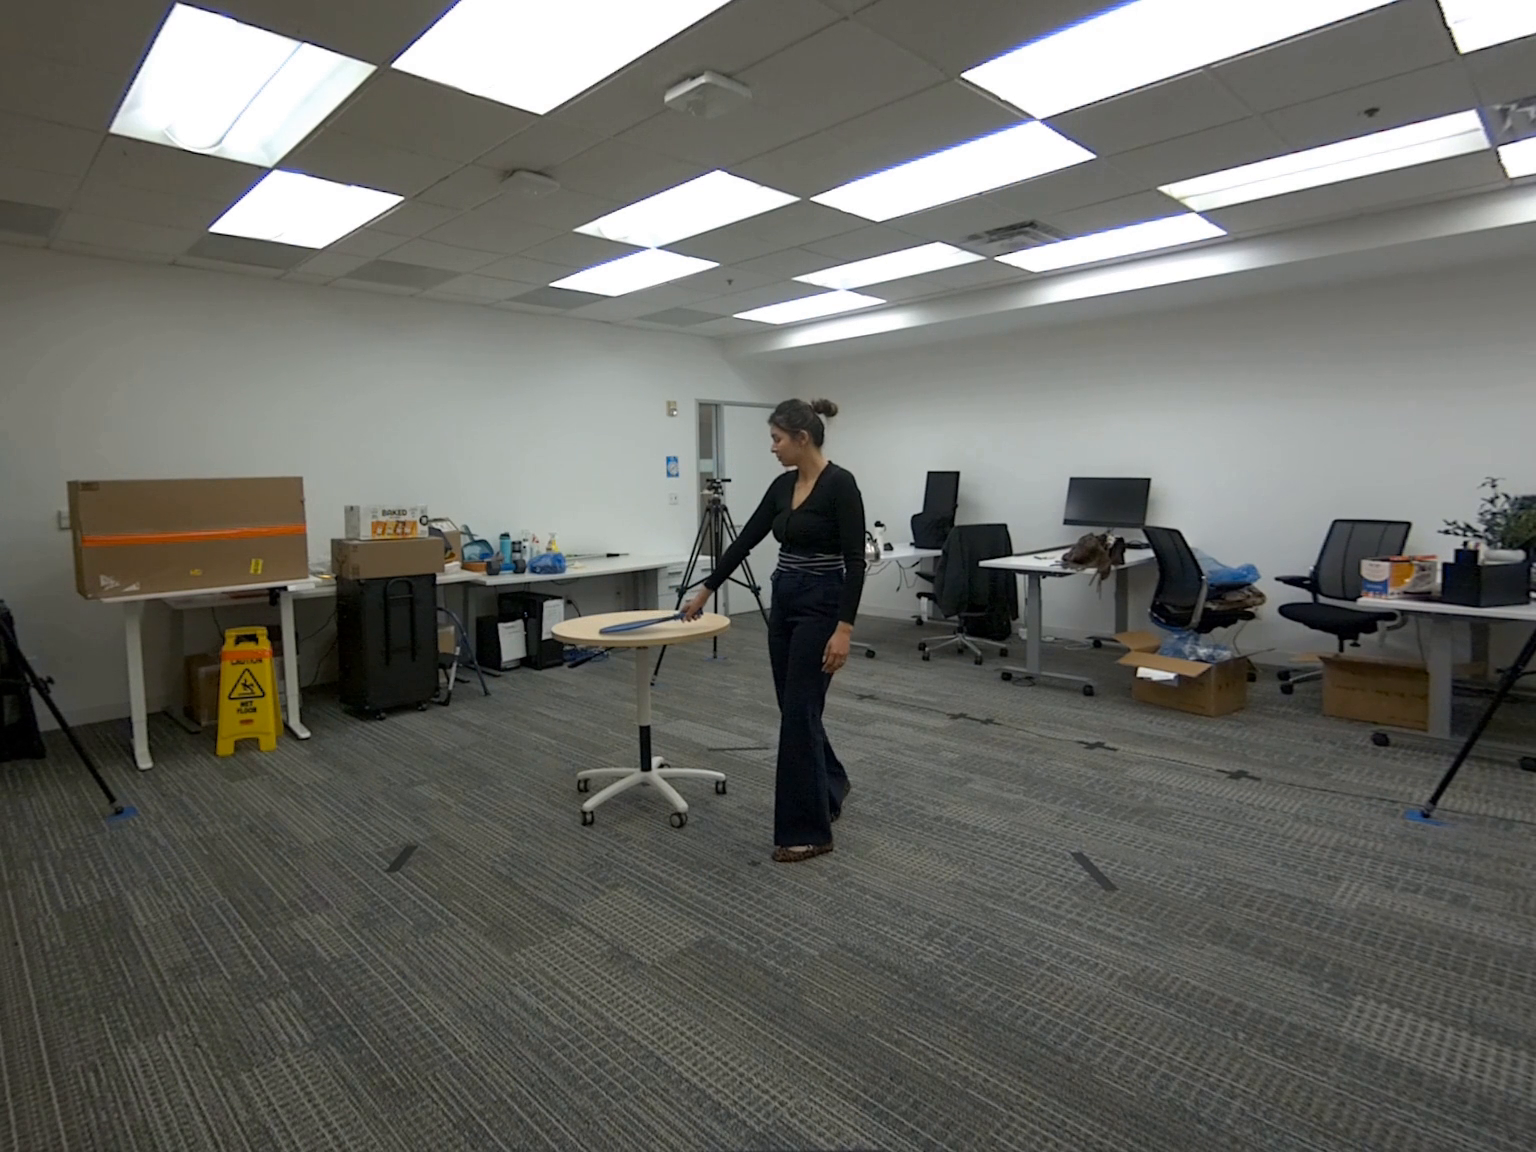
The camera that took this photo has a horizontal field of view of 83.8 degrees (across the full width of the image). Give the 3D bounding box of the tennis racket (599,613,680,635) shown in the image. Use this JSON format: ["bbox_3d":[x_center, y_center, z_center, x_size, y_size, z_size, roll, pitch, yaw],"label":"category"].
[{"bbox_3d":[-0.477,0.192,3.502,0.433,0.031,0.214,-8,5,0],"label":"tennis racket"}]
